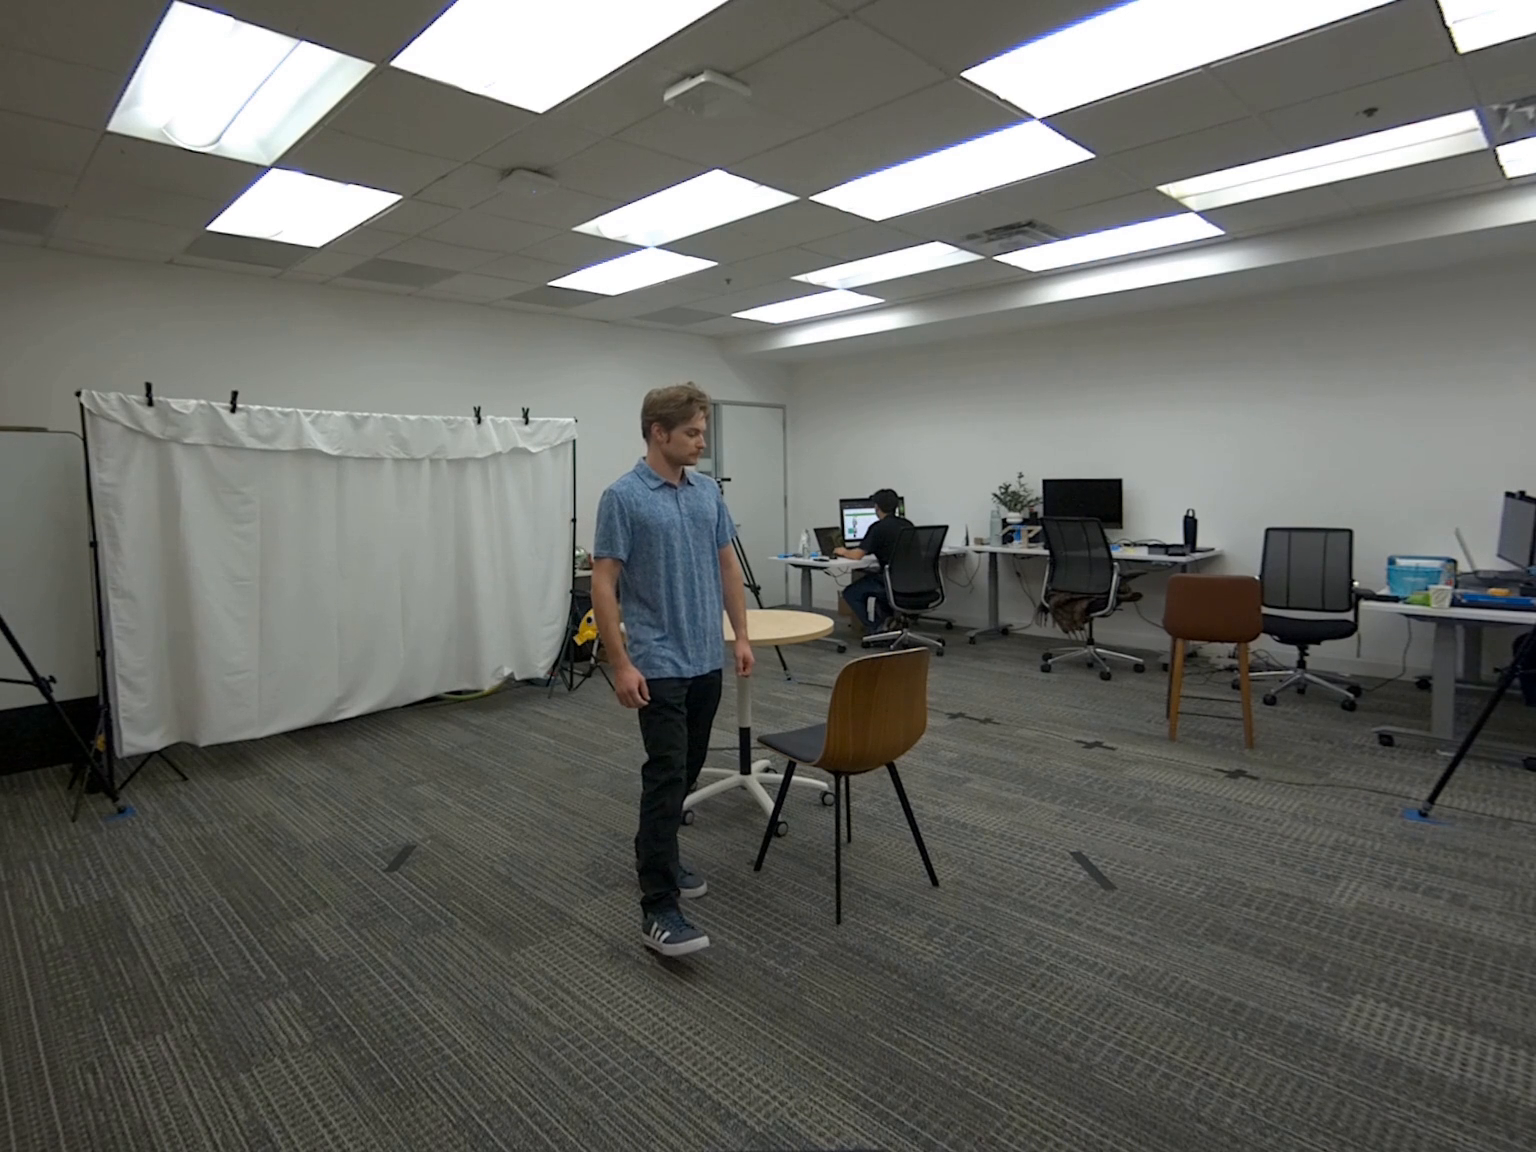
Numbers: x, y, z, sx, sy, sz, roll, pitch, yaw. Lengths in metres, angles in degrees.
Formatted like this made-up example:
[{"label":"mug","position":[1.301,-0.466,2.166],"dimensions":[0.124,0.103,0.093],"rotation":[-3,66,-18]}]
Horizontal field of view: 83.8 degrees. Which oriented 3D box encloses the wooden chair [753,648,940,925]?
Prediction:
[{"label":"wooden chair","position":[0.255,0.627,2.946],"dimensions":[0.466,0.871,0.540],"rotation":[-4,10,-35]}]
